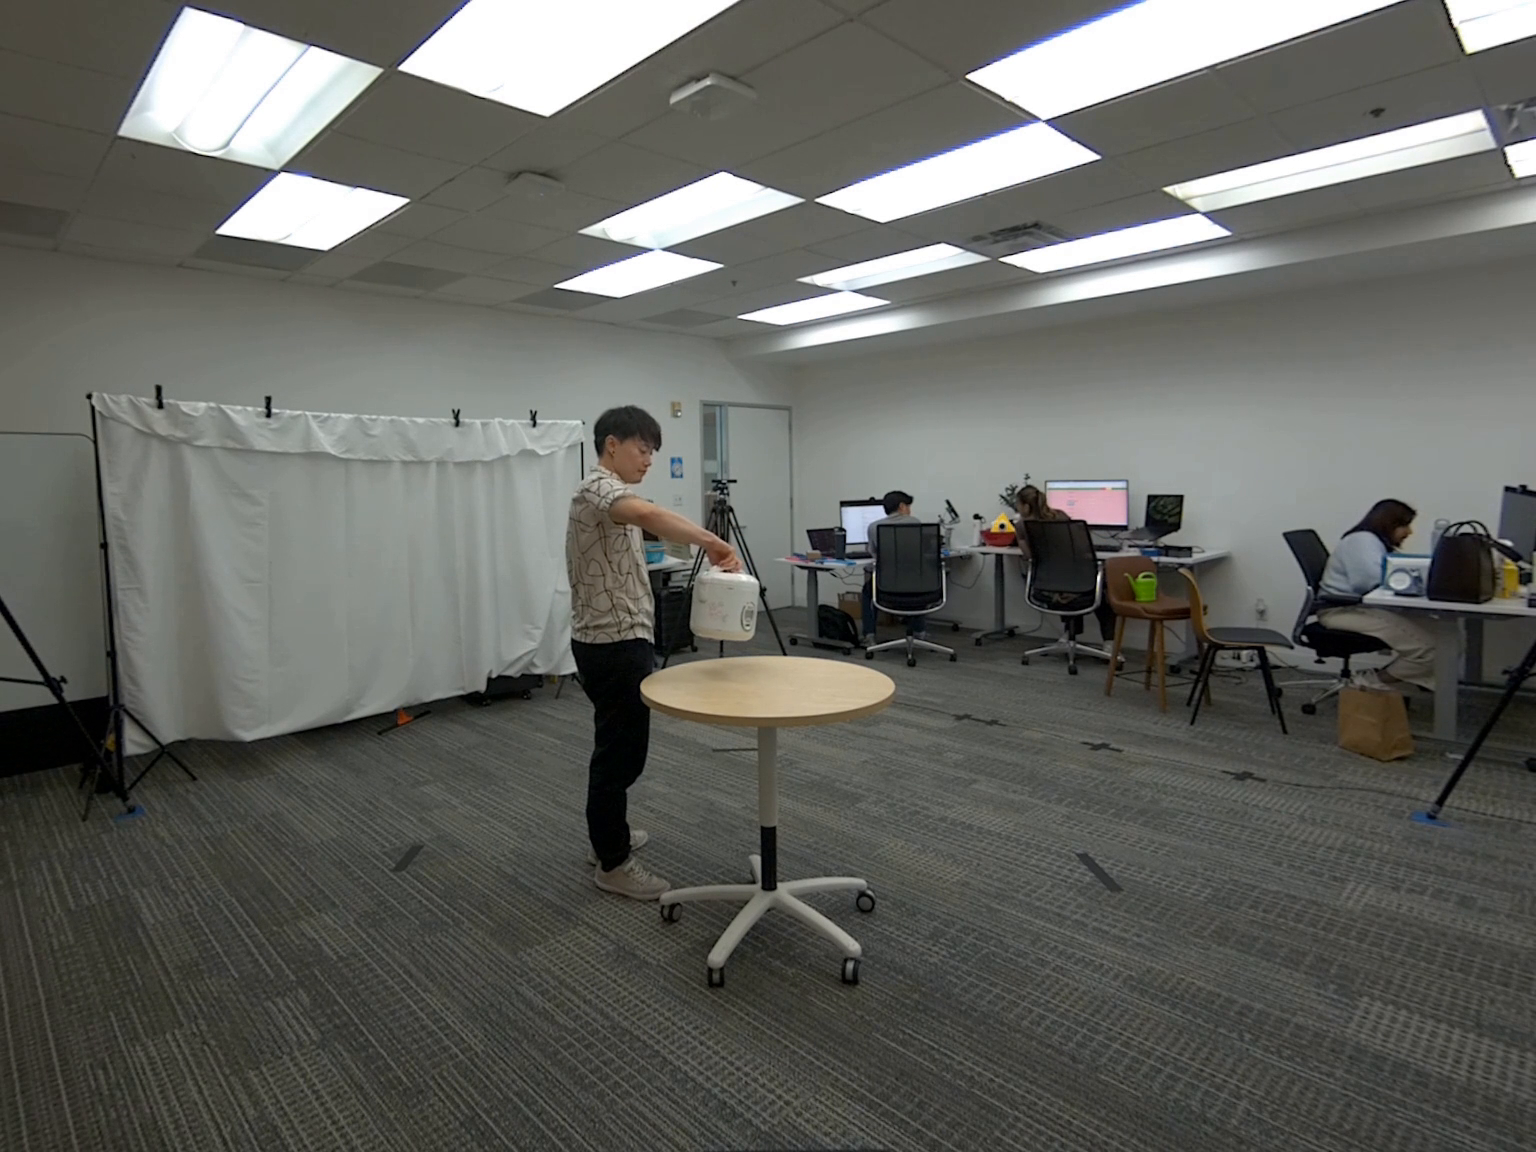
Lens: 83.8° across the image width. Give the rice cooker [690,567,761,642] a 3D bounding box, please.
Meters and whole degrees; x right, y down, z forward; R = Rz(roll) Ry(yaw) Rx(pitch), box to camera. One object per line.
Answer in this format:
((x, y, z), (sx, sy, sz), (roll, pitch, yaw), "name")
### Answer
((-0.132, 0.077, 2.717), (0.224, 0.233, 0.214), (1, -3, 45), "rice cooker")
